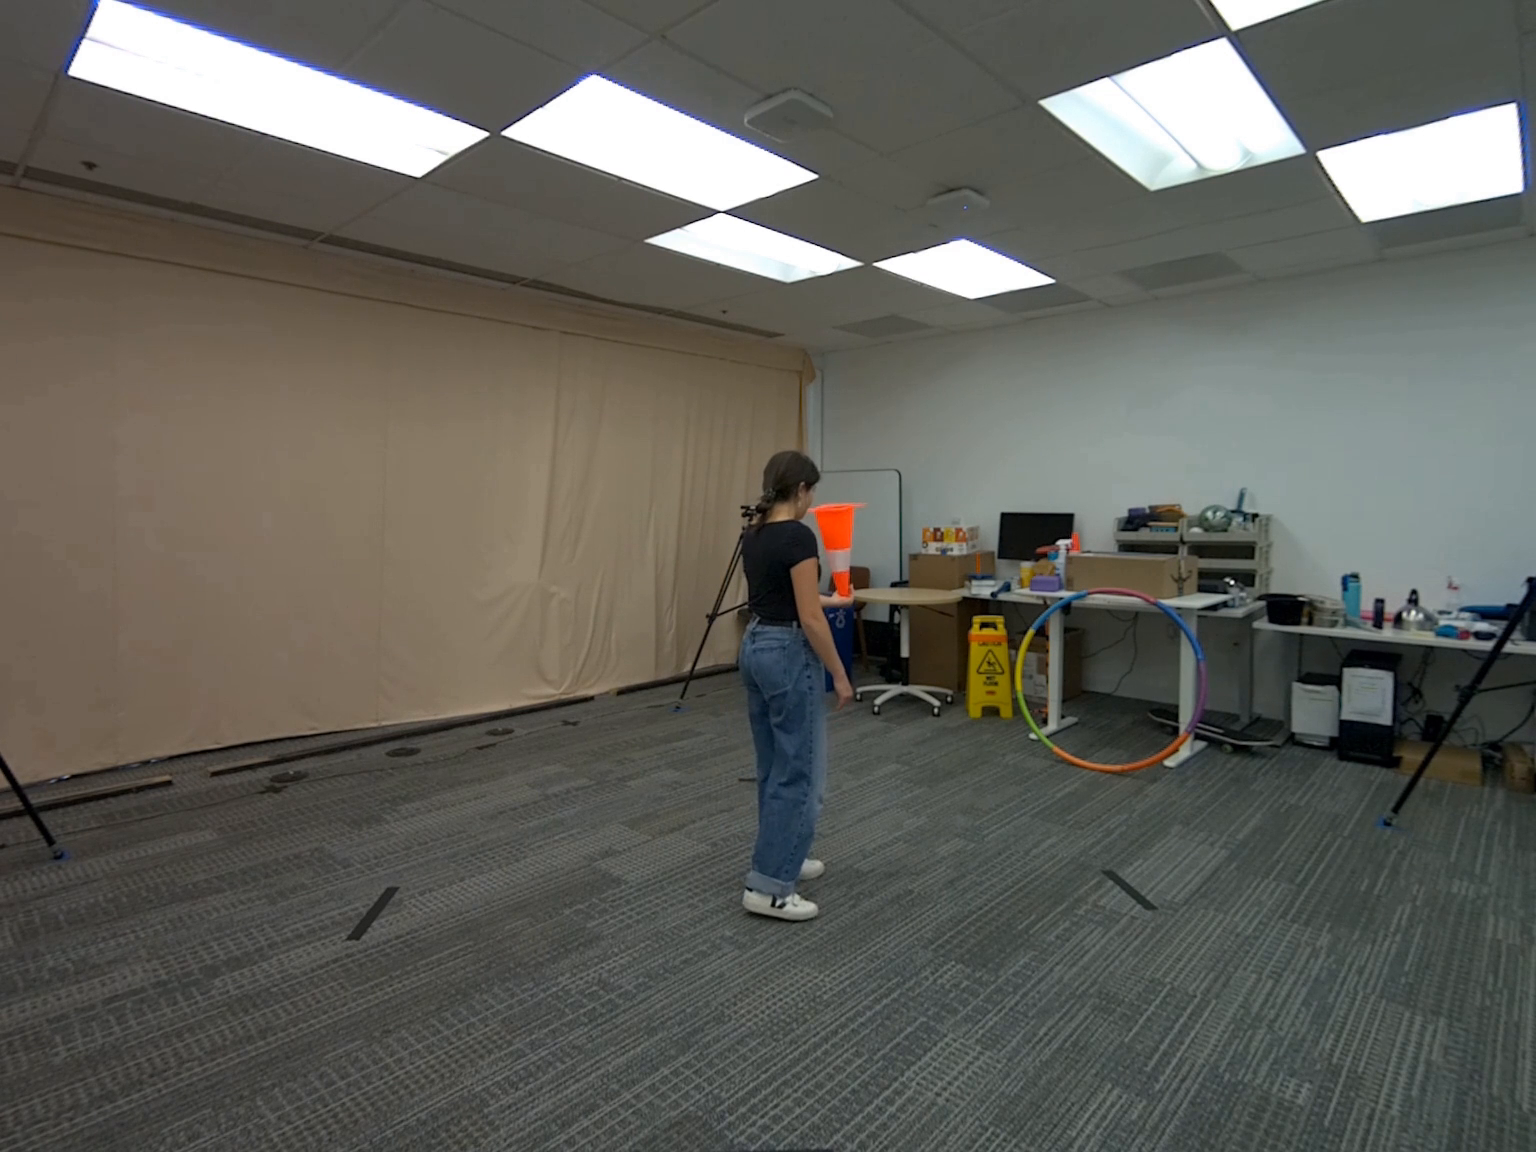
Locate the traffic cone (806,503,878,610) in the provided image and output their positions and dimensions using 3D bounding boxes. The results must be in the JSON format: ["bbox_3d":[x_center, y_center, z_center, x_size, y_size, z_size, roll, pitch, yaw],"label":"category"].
[{"bbox_3d":[0.296,-0.082,3.385,0.210,0.381,0.200,-3,8,23],"label":"traffic cone"}]
